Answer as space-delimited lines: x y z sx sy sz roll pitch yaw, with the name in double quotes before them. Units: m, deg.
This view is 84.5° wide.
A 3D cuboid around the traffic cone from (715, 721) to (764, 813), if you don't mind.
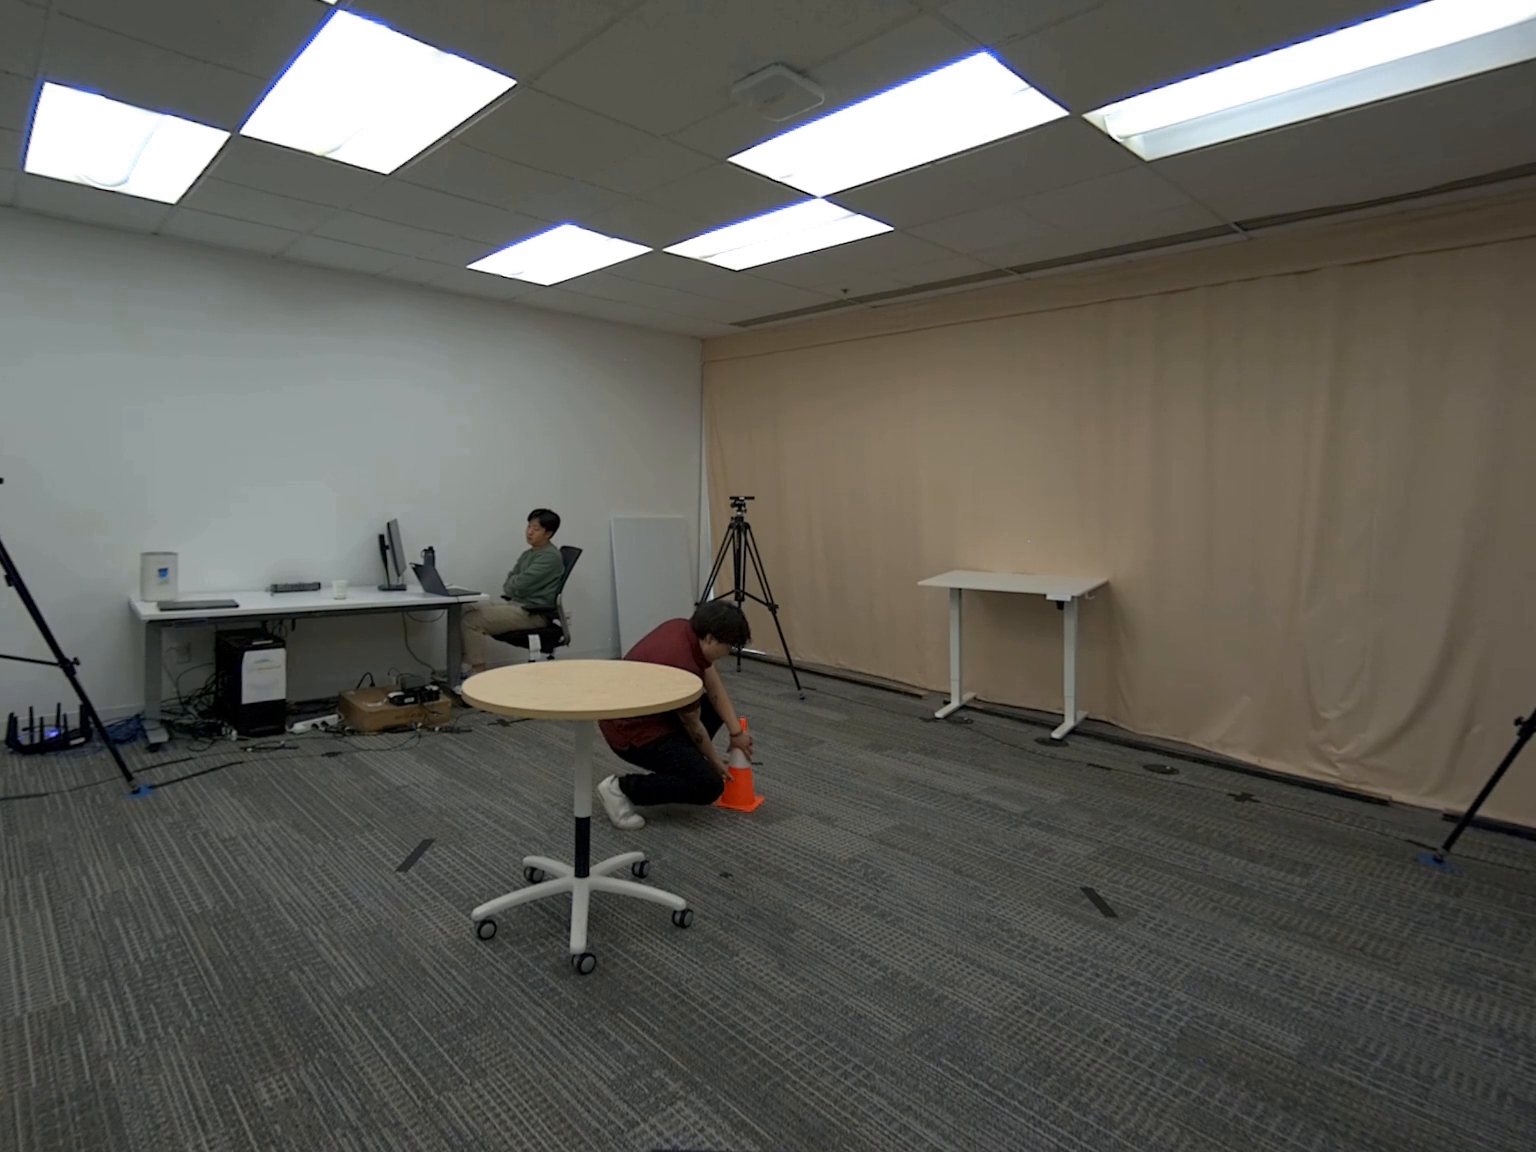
"traffic cone" -0.149 0.849 3.873 0.208 0.383 0.200 2 1 18
